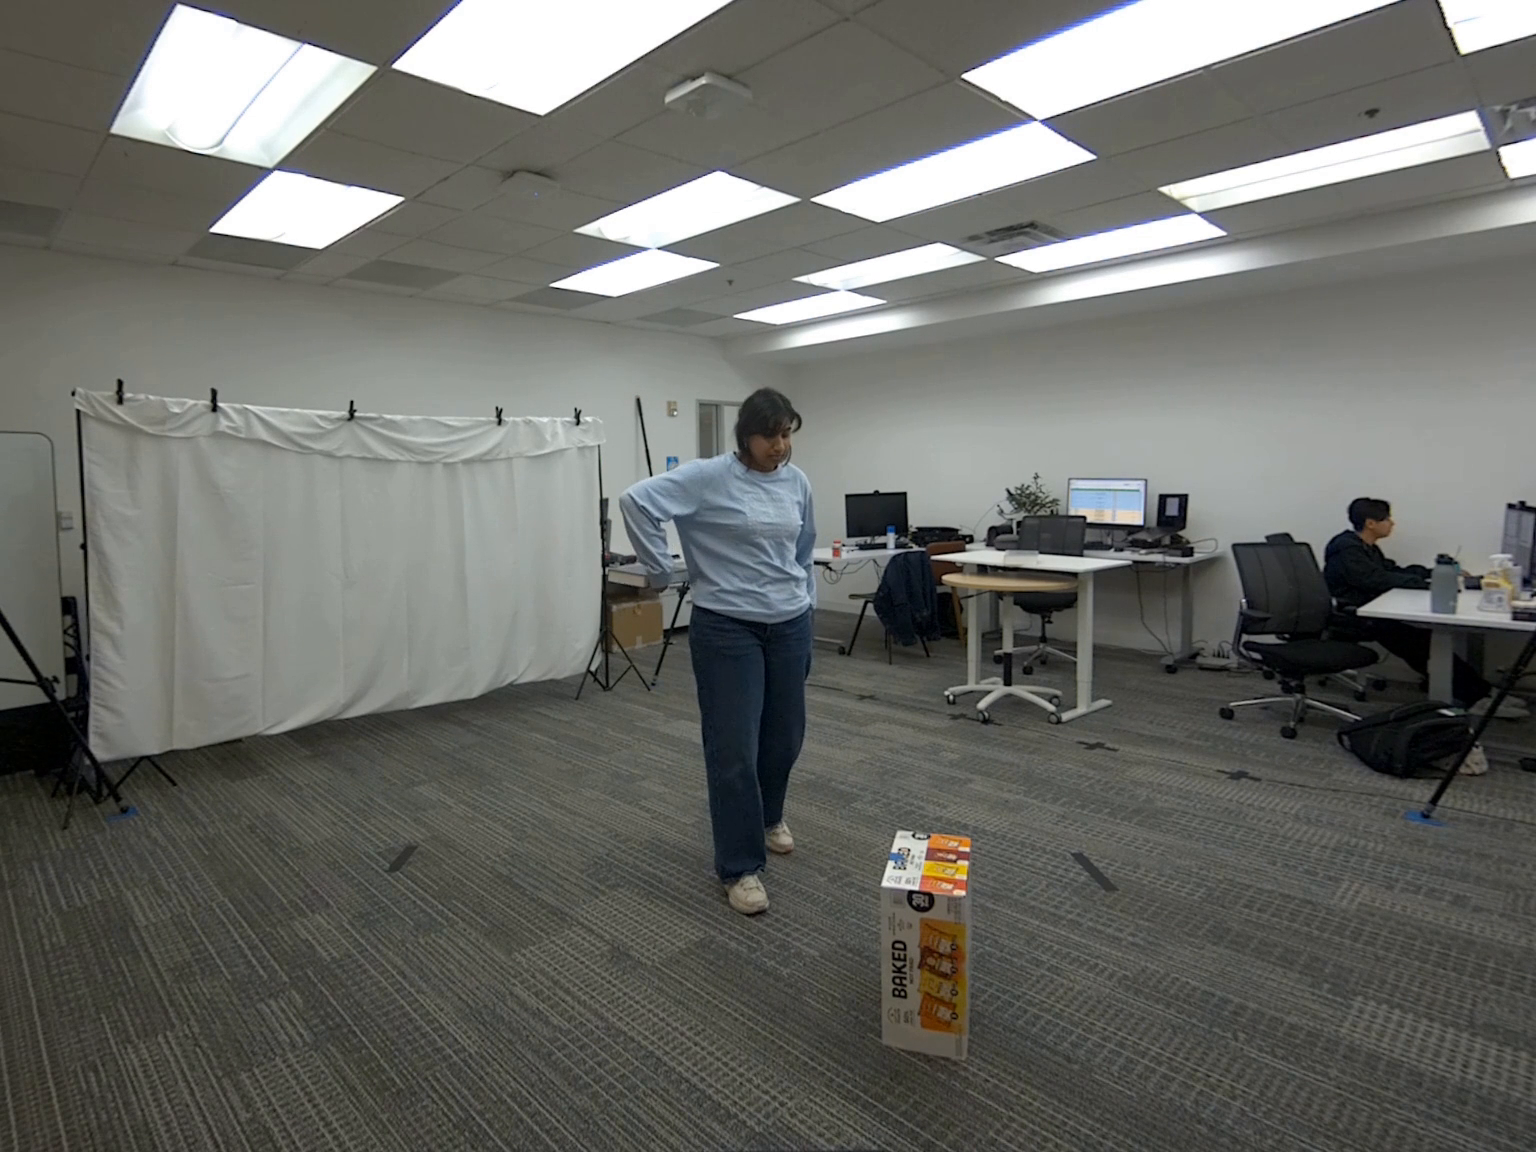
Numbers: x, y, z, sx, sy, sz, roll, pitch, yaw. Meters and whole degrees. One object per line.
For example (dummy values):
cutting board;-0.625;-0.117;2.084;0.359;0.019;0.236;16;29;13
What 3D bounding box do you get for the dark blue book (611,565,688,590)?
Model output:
dark blue book;-0.381;-0.001;2.863;0.168;0.045;0.239;9;9;32
